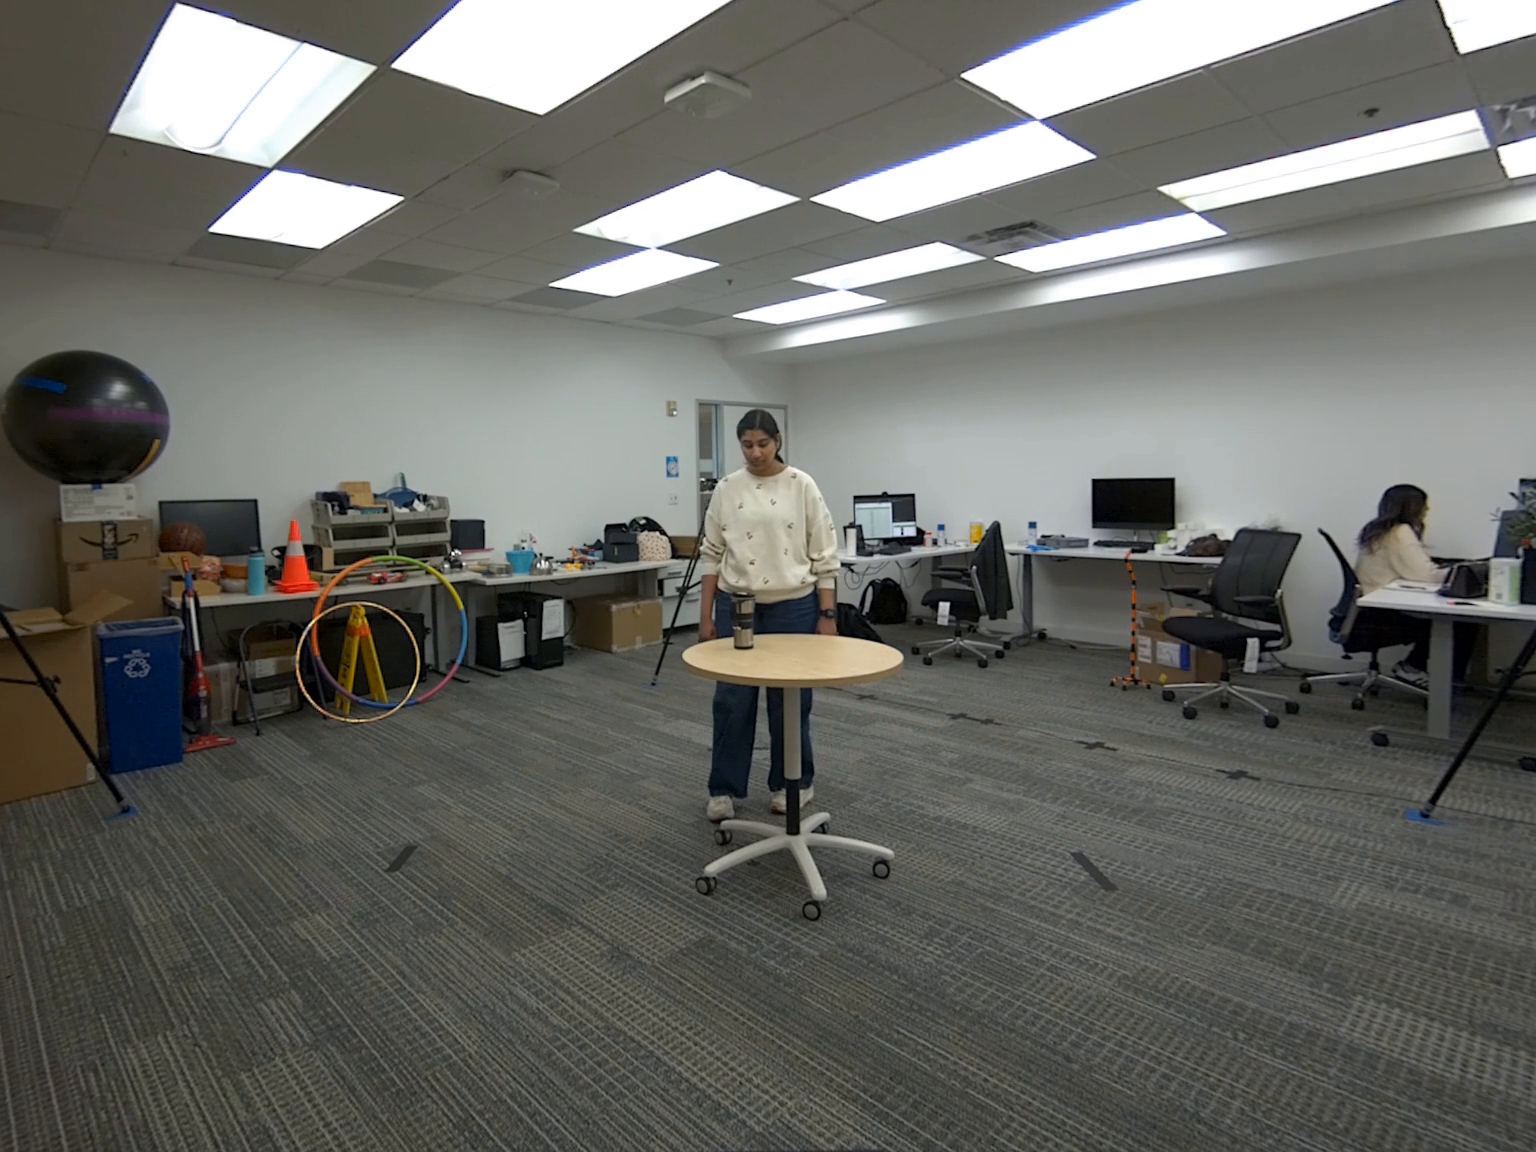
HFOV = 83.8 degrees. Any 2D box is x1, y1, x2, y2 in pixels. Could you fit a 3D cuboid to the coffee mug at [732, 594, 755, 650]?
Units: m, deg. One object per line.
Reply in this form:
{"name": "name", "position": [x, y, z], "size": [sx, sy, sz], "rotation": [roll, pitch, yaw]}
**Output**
{"name": "coffee mug", "position": [-0.108, 0.166, 3.085], "size": [0.119, 0.202, 0.090], "rotation": [-1, 6, -36]}
